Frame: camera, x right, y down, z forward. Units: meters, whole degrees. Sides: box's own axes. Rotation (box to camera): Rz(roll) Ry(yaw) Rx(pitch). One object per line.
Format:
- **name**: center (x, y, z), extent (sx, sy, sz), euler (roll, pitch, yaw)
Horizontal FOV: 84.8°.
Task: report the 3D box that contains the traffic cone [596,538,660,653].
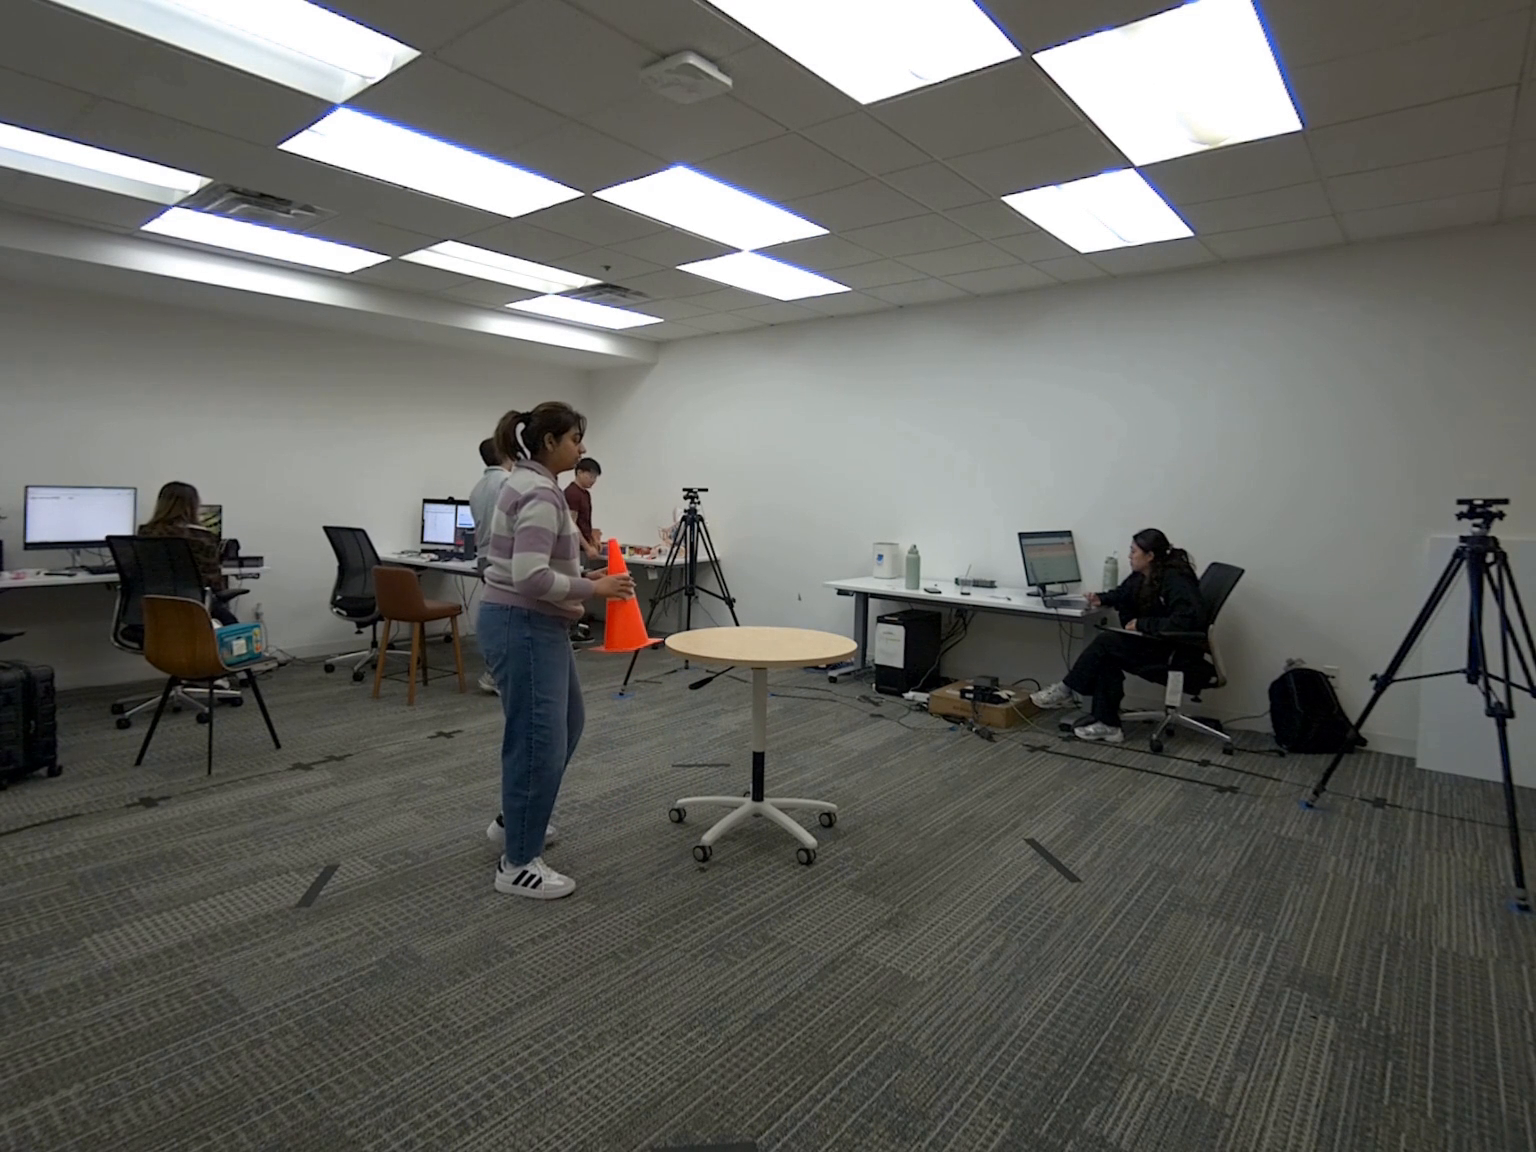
- **traffic cone**: center (-0.543, 0.059, 2.999), extent (0.208, 0.383, 0.201), euler (-6, 3, 13)
